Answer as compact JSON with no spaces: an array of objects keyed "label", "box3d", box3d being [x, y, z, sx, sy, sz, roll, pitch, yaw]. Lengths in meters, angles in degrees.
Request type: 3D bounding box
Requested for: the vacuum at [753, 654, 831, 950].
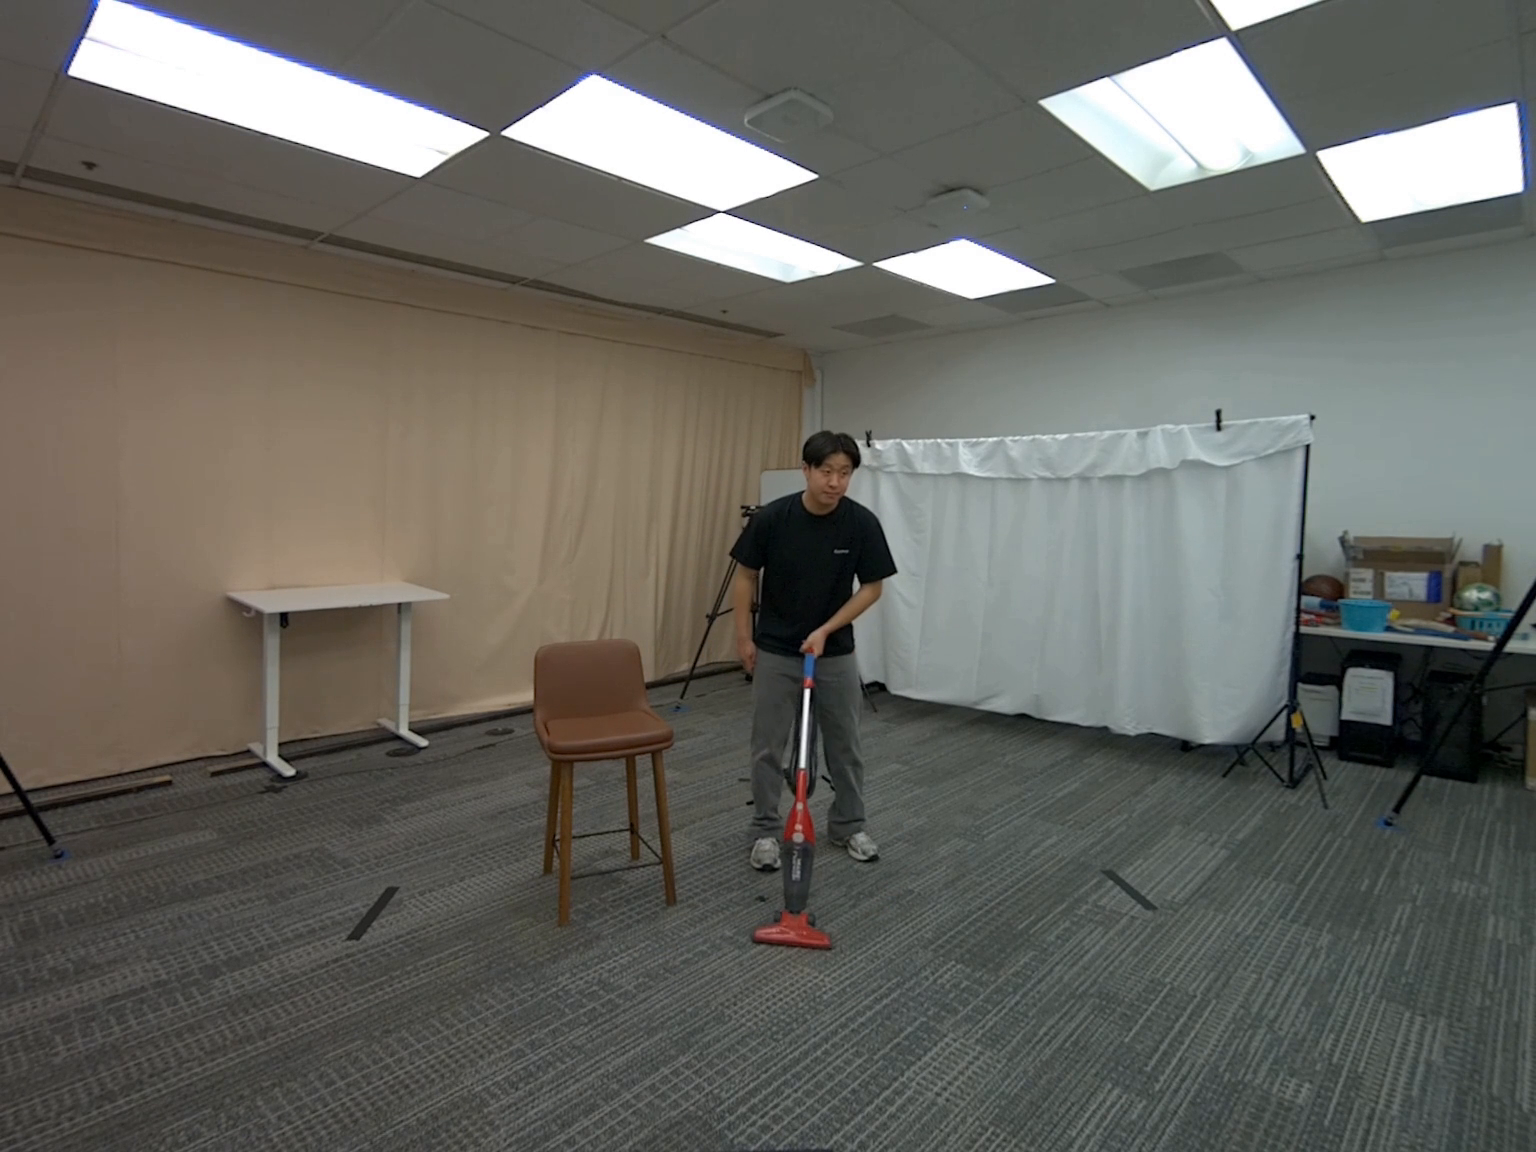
[{"label":"vacuum","box3d":[0.129,0.705,2.981,0.255,1.063,0.141,1,-31,9]}]
